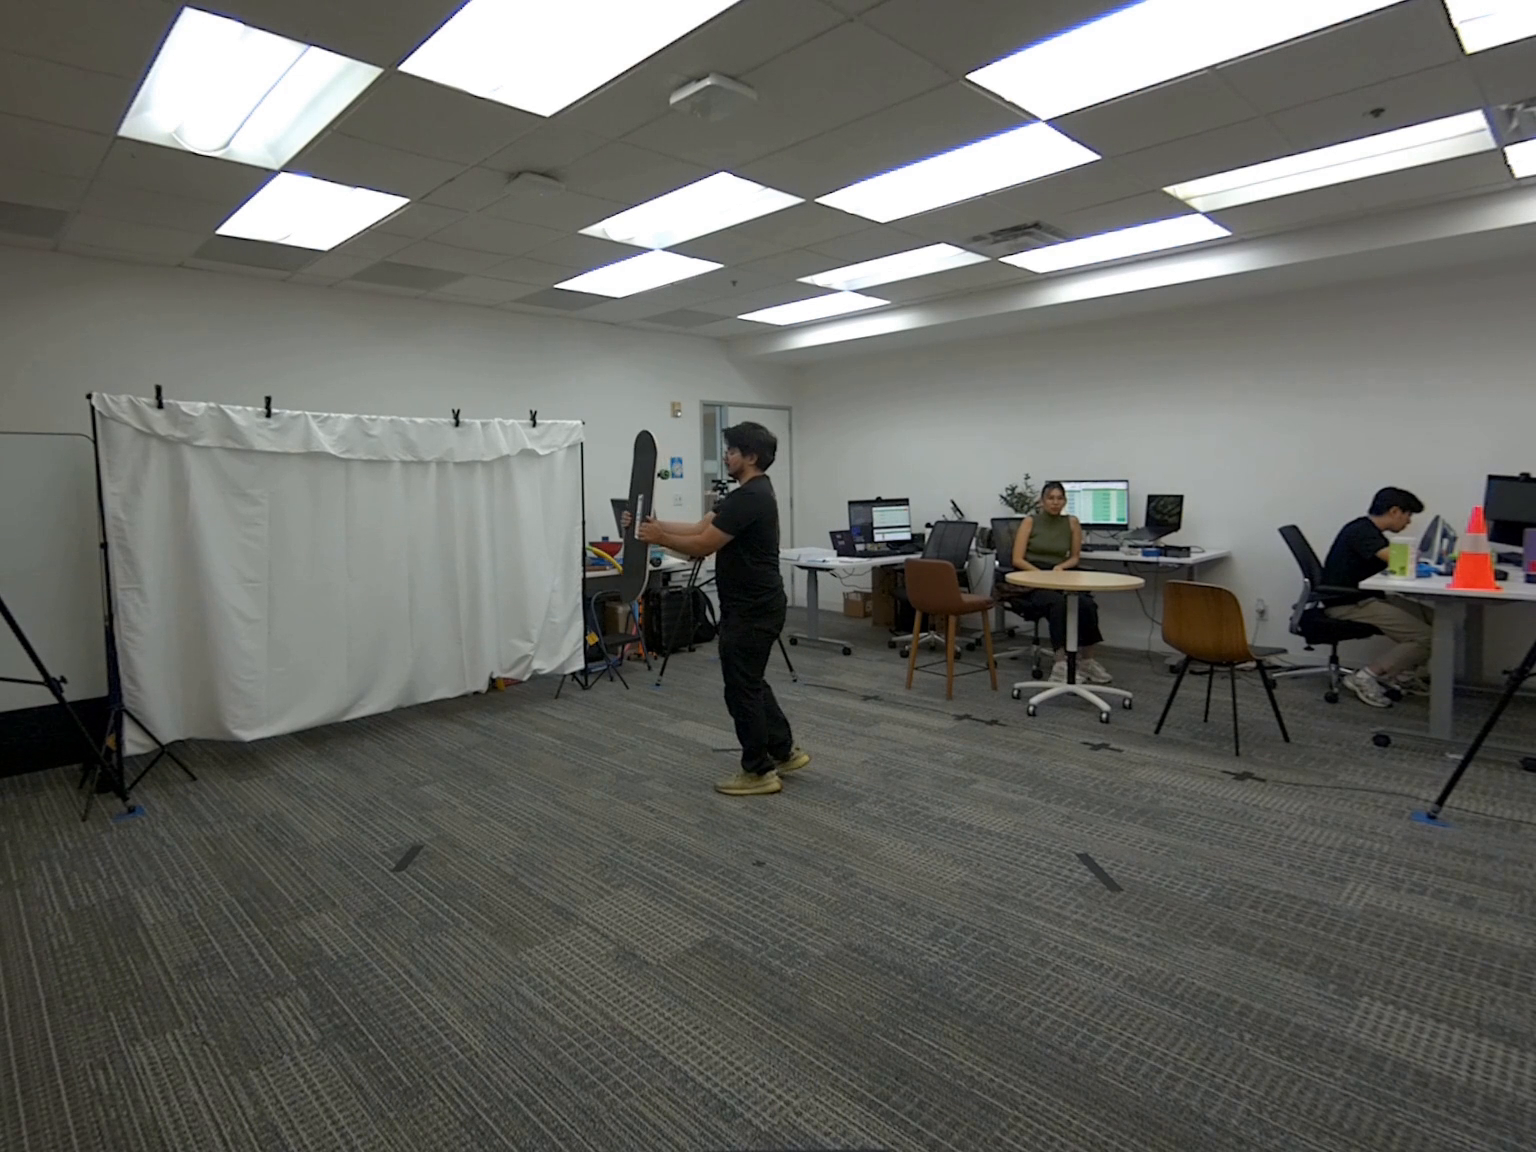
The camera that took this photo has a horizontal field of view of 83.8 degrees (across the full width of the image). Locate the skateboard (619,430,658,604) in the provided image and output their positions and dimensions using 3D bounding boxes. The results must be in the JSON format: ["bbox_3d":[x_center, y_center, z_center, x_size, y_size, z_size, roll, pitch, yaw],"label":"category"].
[{"bbox_3d":[-0.523,-0.261,3.830,0.109,0.791,0.193,7,-9,-8],"label":"skateboard"}]
